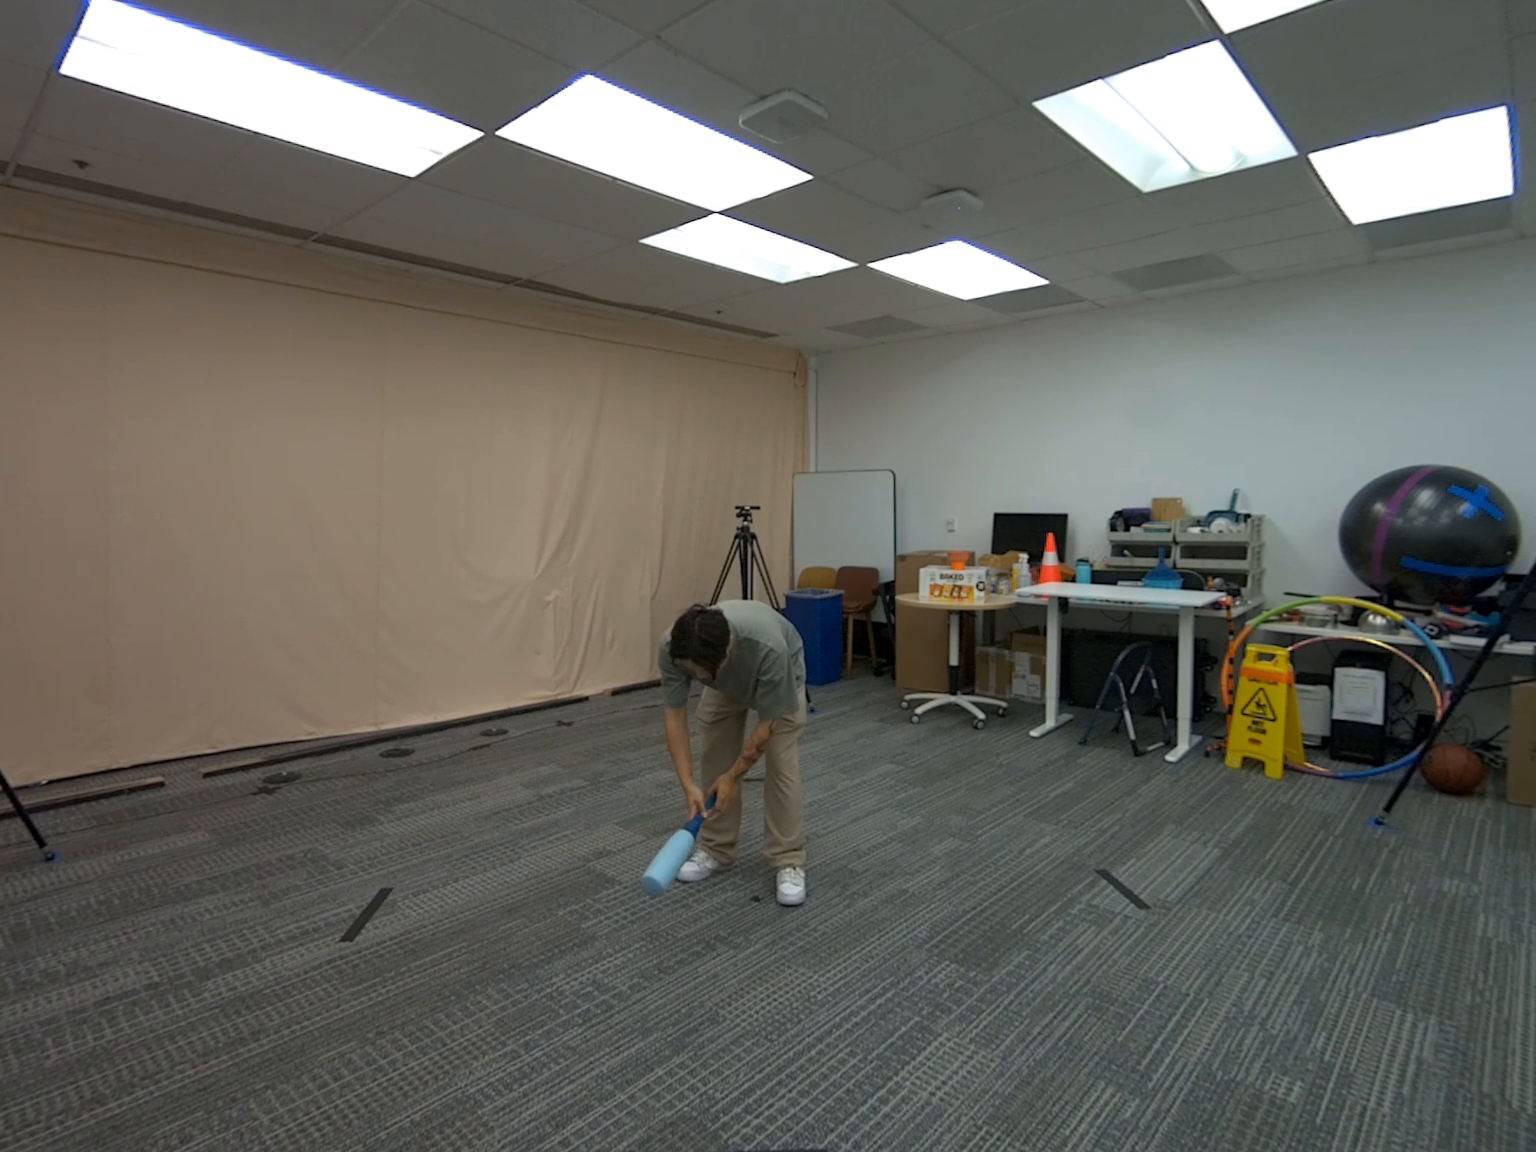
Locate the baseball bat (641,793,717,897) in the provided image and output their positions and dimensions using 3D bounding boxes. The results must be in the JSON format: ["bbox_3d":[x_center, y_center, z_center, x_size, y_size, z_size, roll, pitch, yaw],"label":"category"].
[{"bbox_3d":[-0.271,0.875,2.811,0.091,0.088,0.537,1,19,21],"label":"baseball bat"}]
